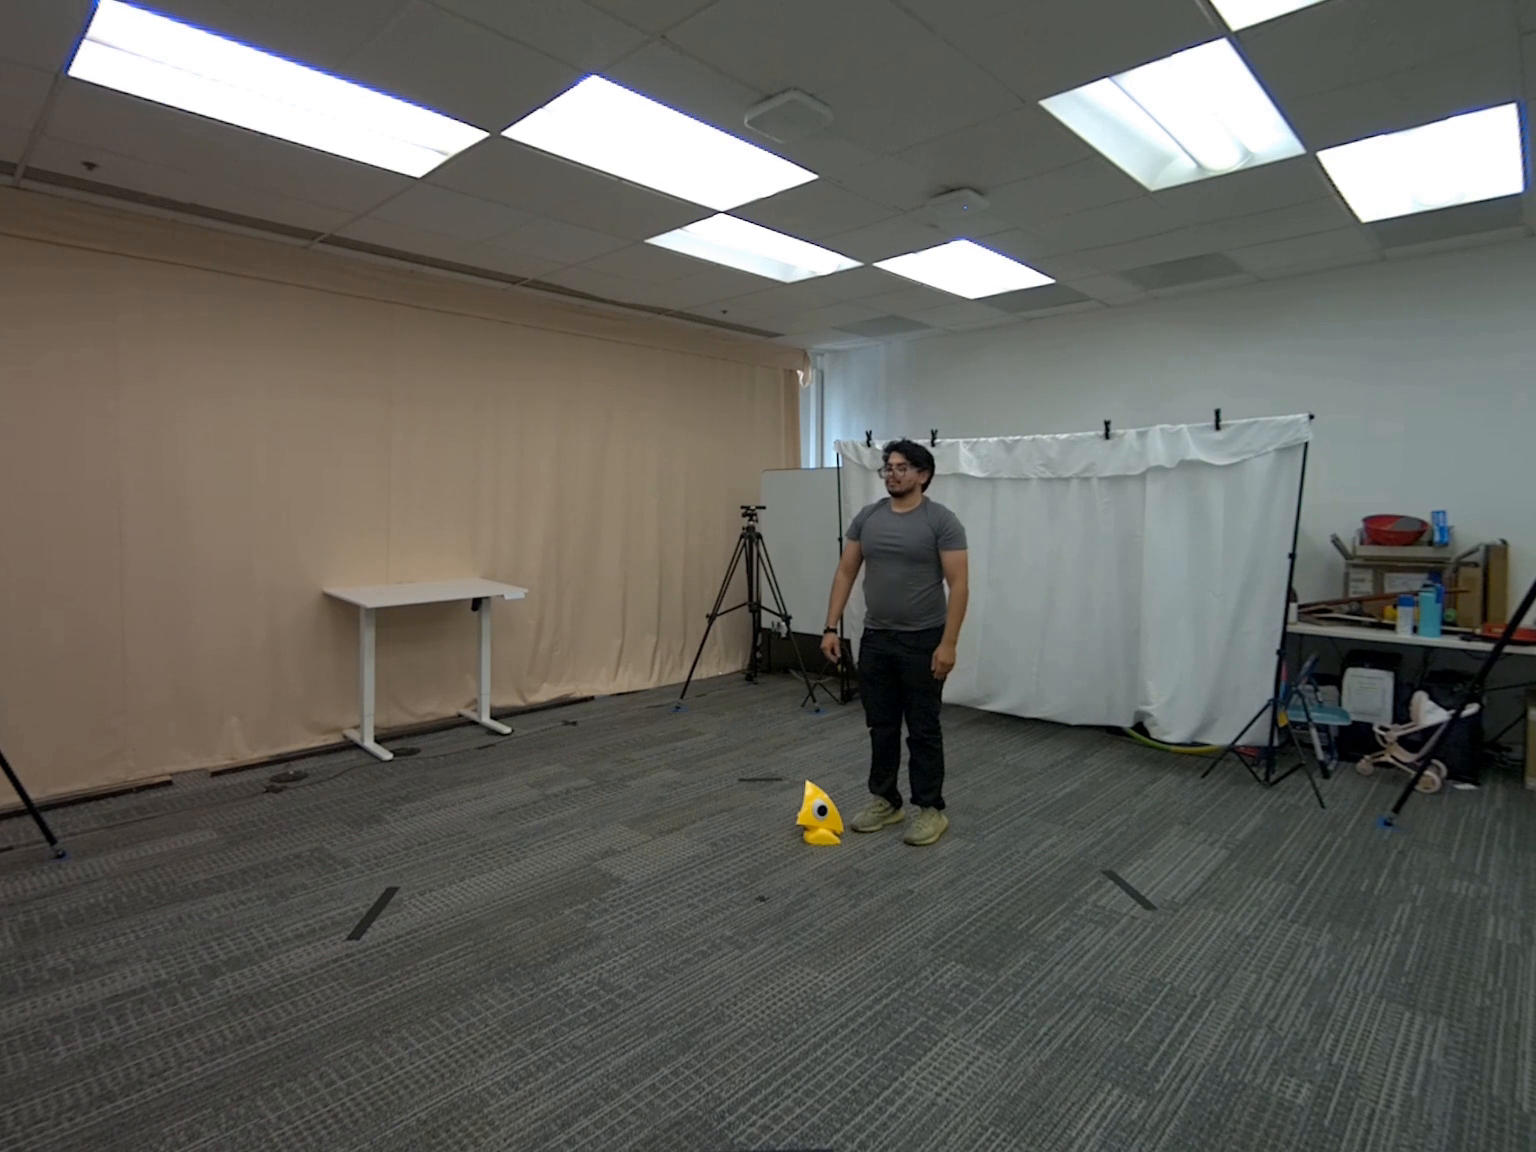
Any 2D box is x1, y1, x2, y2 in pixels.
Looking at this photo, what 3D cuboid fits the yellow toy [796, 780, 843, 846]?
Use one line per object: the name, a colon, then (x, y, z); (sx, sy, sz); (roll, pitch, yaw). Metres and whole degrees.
yellow toy: (0.229, 0.981, 3.552); (0.195, 0.230, 0.203); (1, 3, 10)
